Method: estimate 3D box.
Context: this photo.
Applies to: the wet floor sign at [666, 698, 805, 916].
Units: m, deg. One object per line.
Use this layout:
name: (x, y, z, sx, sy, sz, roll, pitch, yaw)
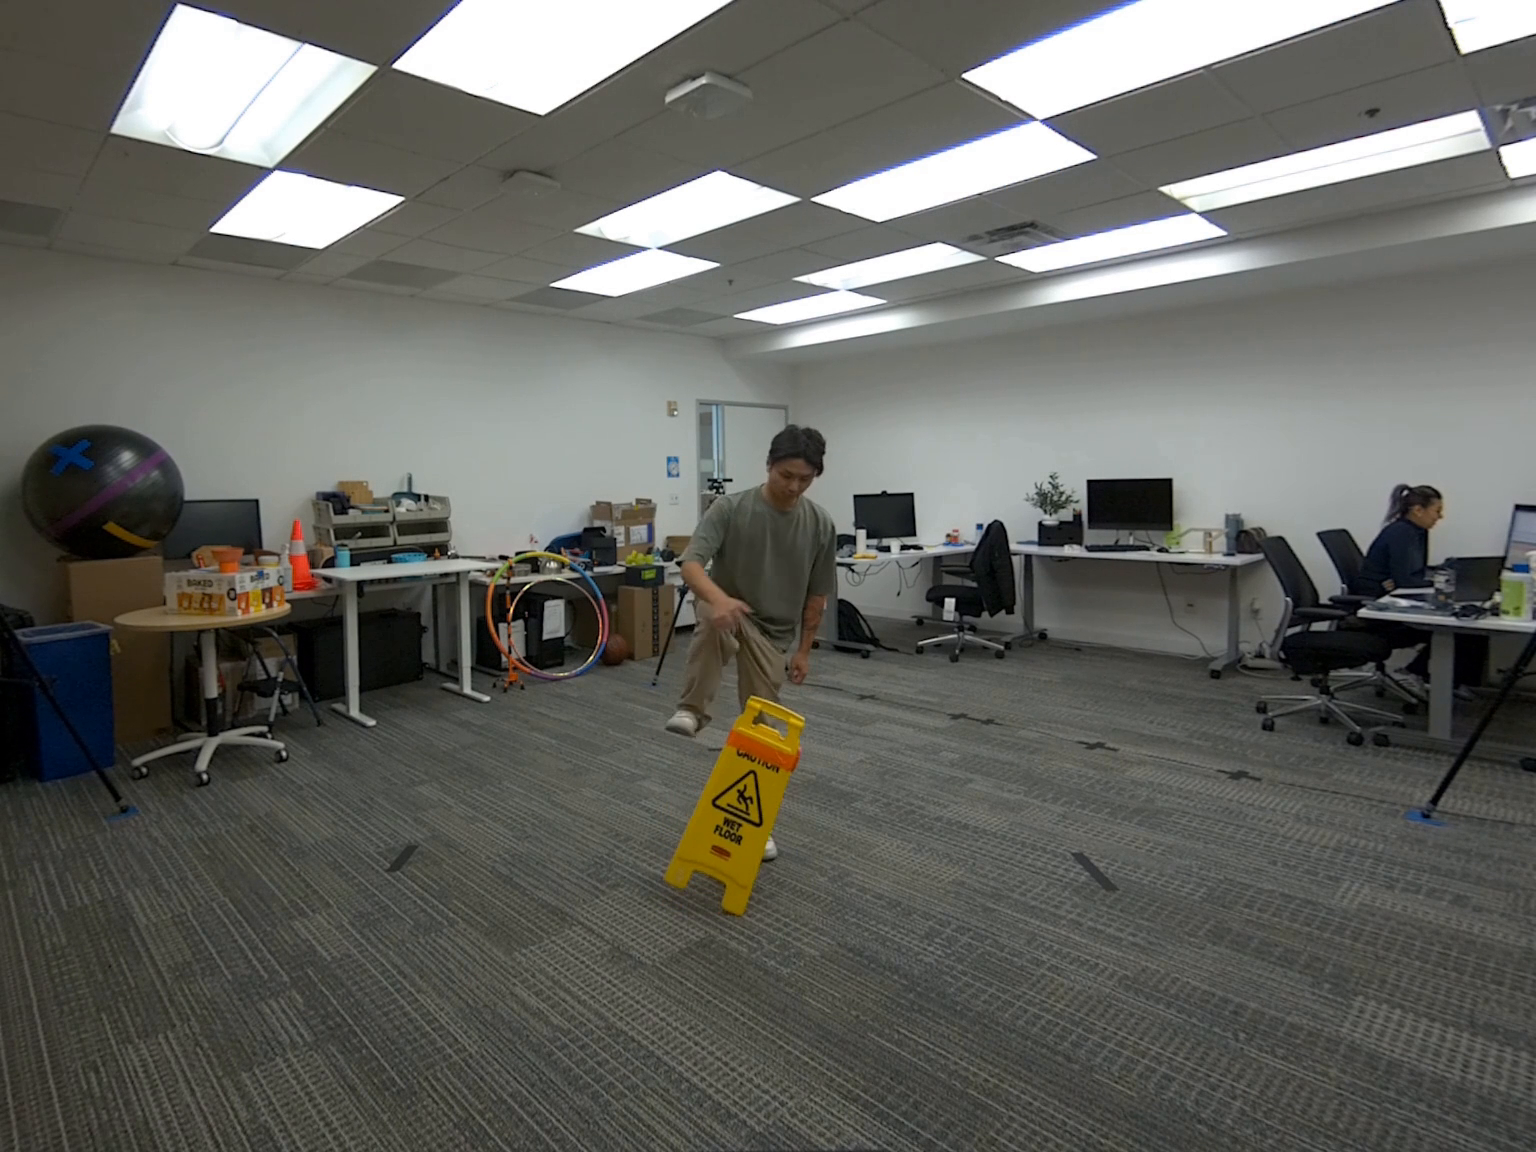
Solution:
wet floor sign: (-0.078, 0.736, 2.830, 0.285, 0.643, 0.288, 19, 9, 7)
